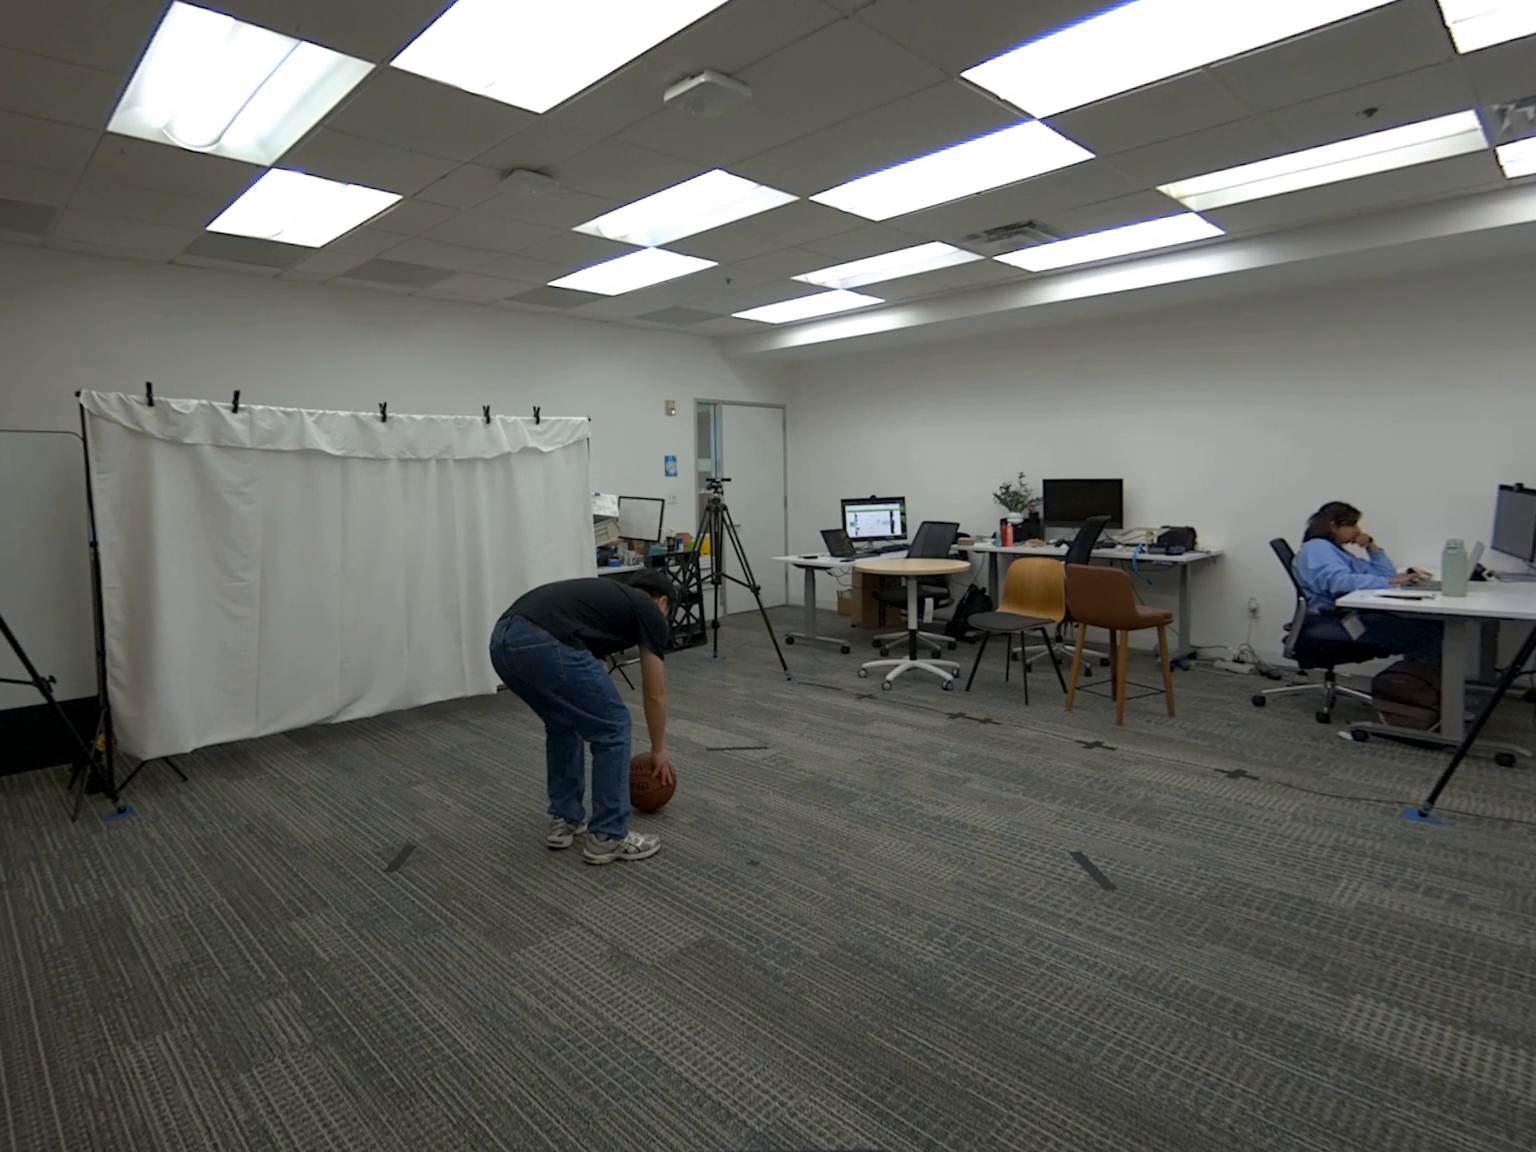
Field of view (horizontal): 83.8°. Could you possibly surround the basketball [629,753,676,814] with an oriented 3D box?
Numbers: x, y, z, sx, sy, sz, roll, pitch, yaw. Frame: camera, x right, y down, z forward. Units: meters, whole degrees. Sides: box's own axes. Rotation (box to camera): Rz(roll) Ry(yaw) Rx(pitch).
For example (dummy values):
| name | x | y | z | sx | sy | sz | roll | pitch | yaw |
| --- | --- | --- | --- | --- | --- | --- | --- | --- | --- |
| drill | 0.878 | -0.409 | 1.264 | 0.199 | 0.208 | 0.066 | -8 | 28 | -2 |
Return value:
| name | x | y | z | sx | sy | sz | roll | pitch | yaw |
| --- | --- | --- | --- | --- | --- | --- | --- | --- | --- |
| basketball | -0.502 | 0.861 | 3.609 | 0.236 | 0.235 | 0.237 | -1 | 5 | -2 |
